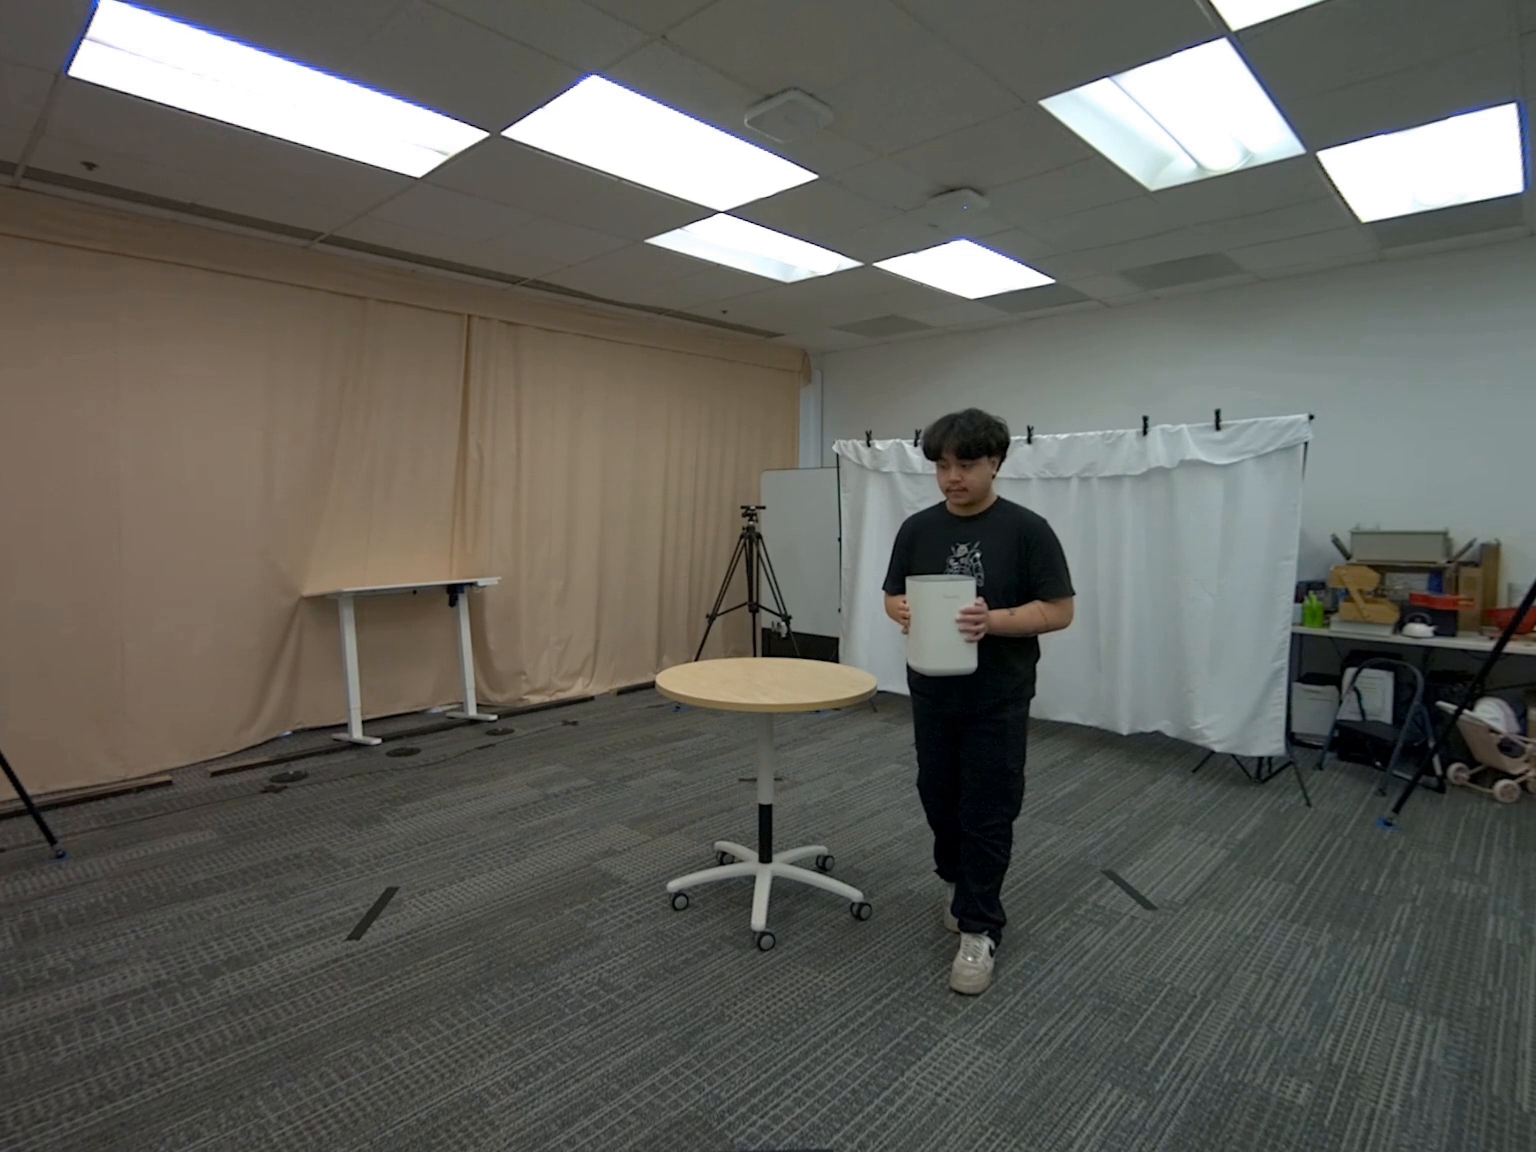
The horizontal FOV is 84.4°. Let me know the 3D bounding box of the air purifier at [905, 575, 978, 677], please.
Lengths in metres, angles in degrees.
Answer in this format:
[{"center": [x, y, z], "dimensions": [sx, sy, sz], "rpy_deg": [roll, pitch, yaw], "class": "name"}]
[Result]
[{"center": [0.504, 0.141, 2.353], "dimensions": [0.170, 0.265, 0.172], "rpy_deg": [0, 1, -4], "class": "air purifier"}]
